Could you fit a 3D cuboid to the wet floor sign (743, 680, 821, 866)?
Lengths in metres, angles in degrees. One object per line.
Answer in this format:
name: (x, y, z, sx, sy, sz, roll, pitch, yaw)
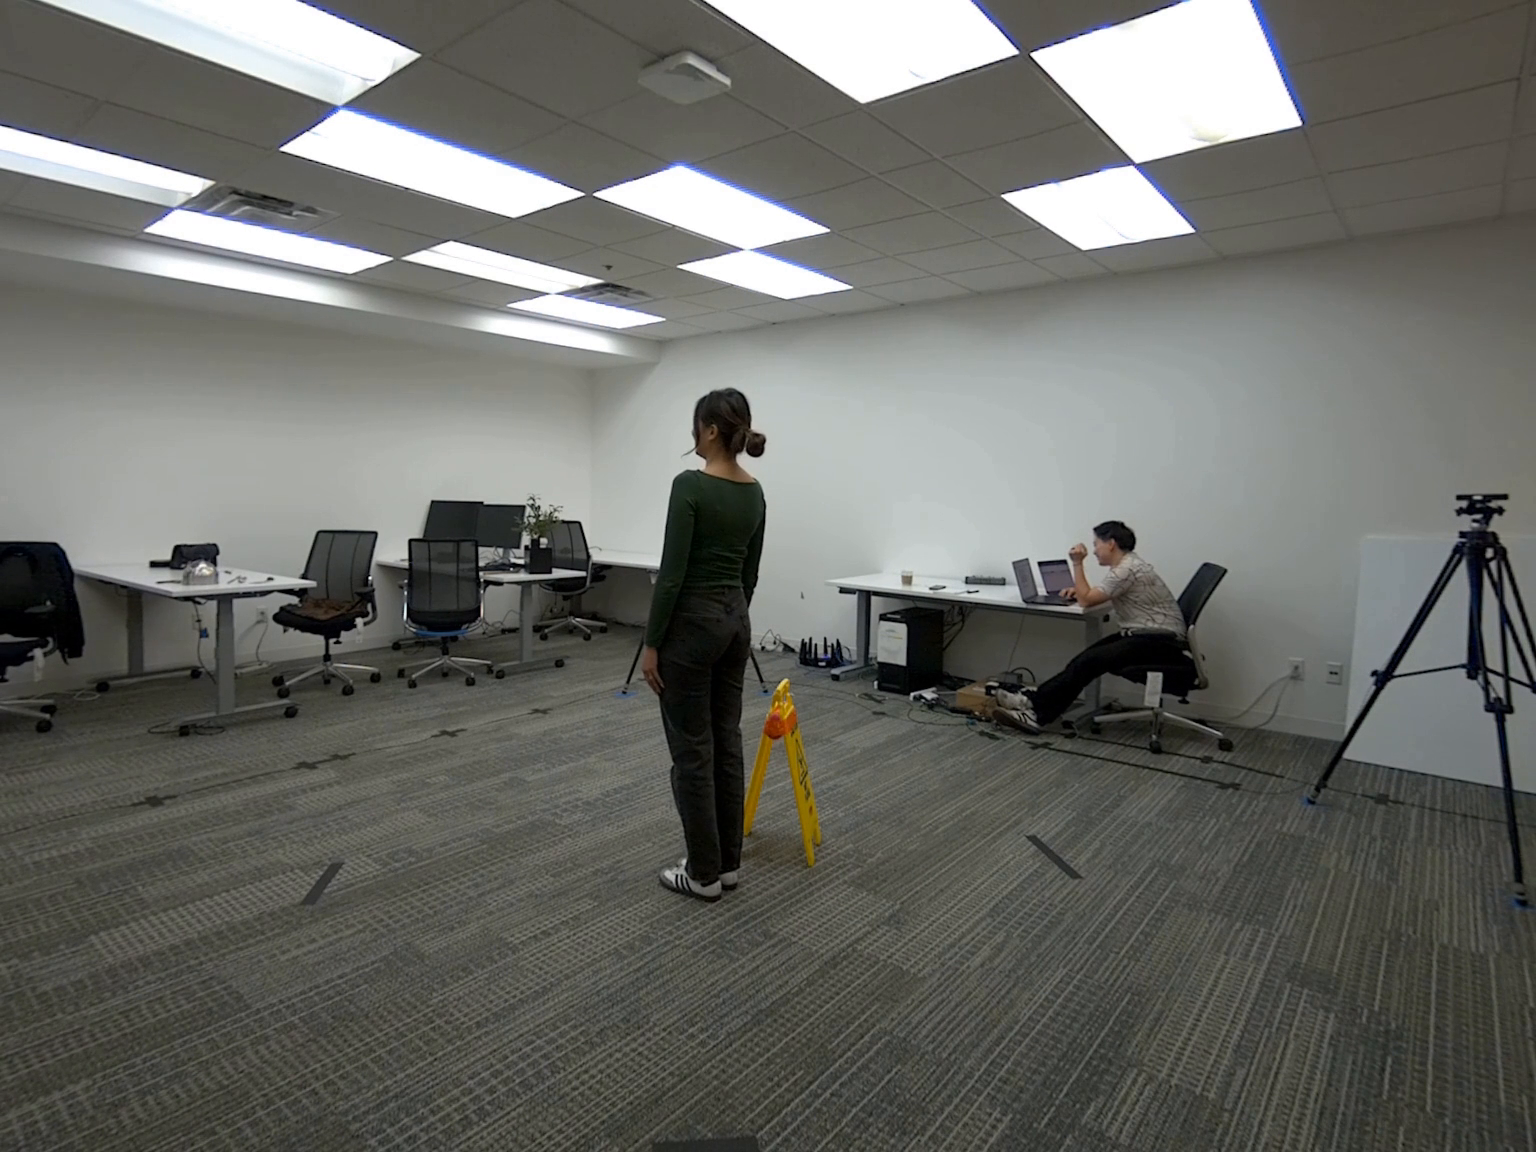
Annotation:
wet floor sign: (0.036, 0.729, 3.285, 0.294, 0.645, 0.278, 1, 2, 13)
